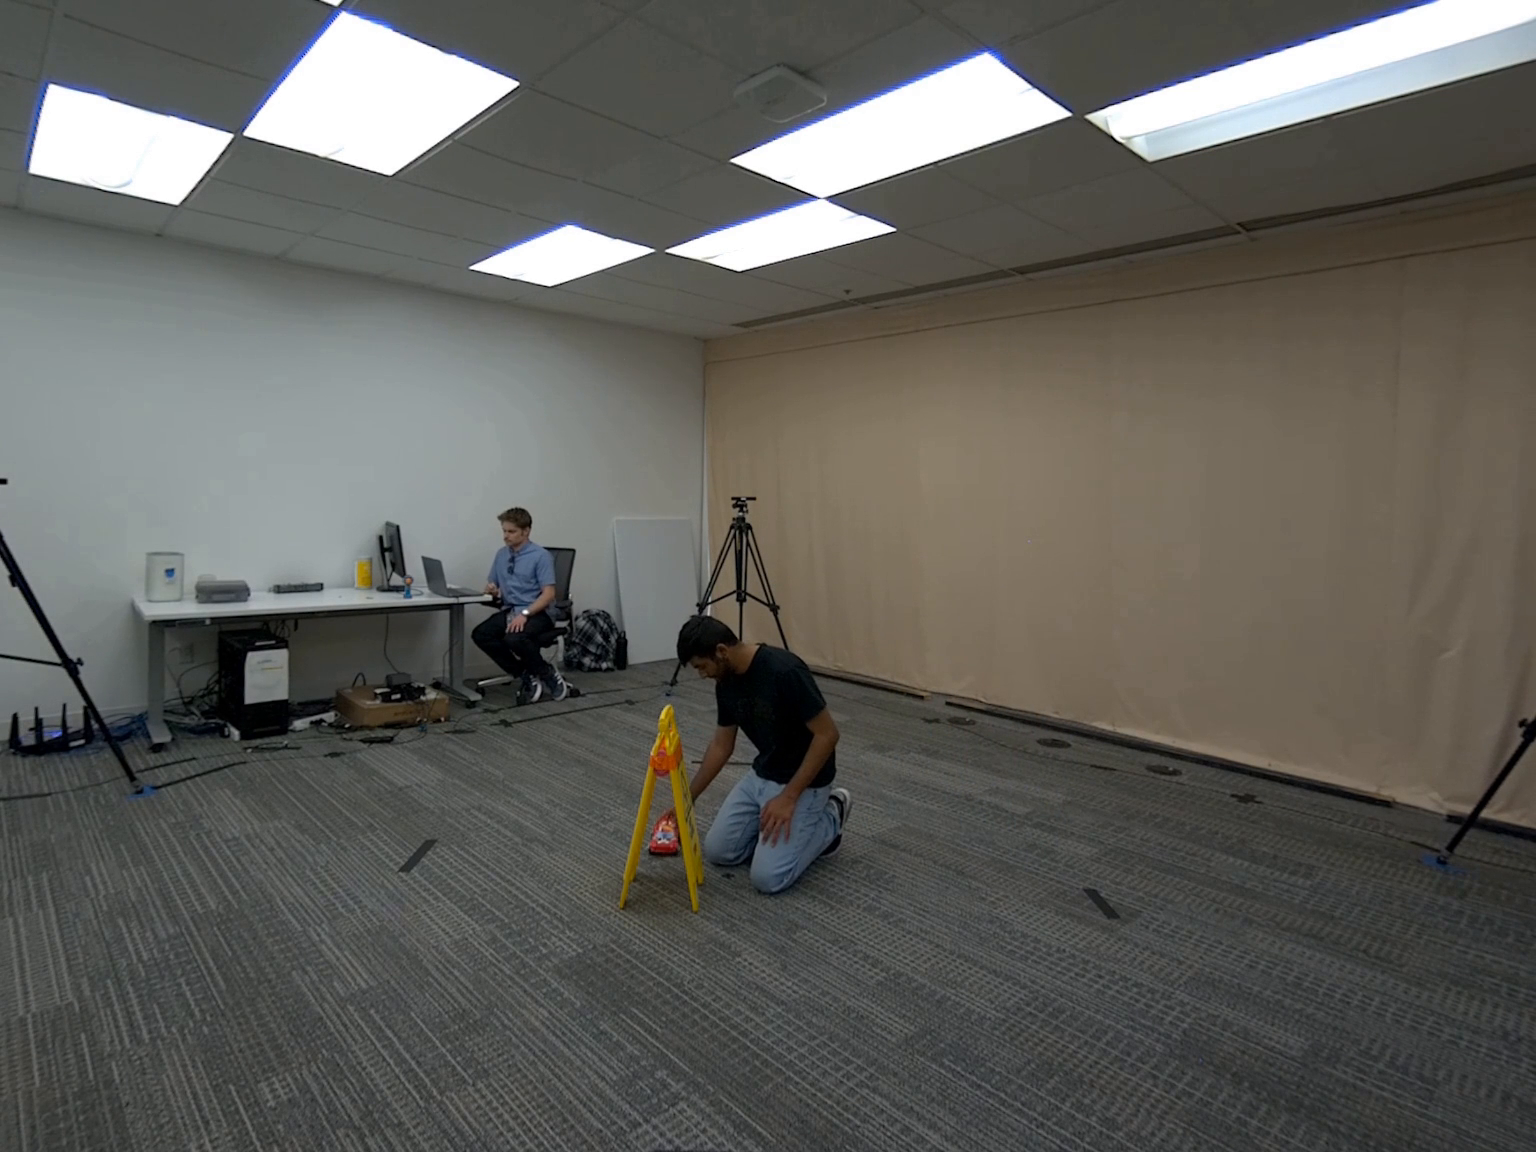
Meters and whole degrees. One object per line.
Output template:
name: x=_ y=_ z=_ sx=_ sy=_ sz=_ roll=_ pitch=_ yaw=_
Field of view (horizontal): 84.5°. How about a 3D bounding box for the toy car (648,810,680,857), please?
toy car: x=-0.408 y=1.040 z=3.357 sx=0.130 sy=0.082 sz=0.257 roll=1 pitch=16 yaw=0
